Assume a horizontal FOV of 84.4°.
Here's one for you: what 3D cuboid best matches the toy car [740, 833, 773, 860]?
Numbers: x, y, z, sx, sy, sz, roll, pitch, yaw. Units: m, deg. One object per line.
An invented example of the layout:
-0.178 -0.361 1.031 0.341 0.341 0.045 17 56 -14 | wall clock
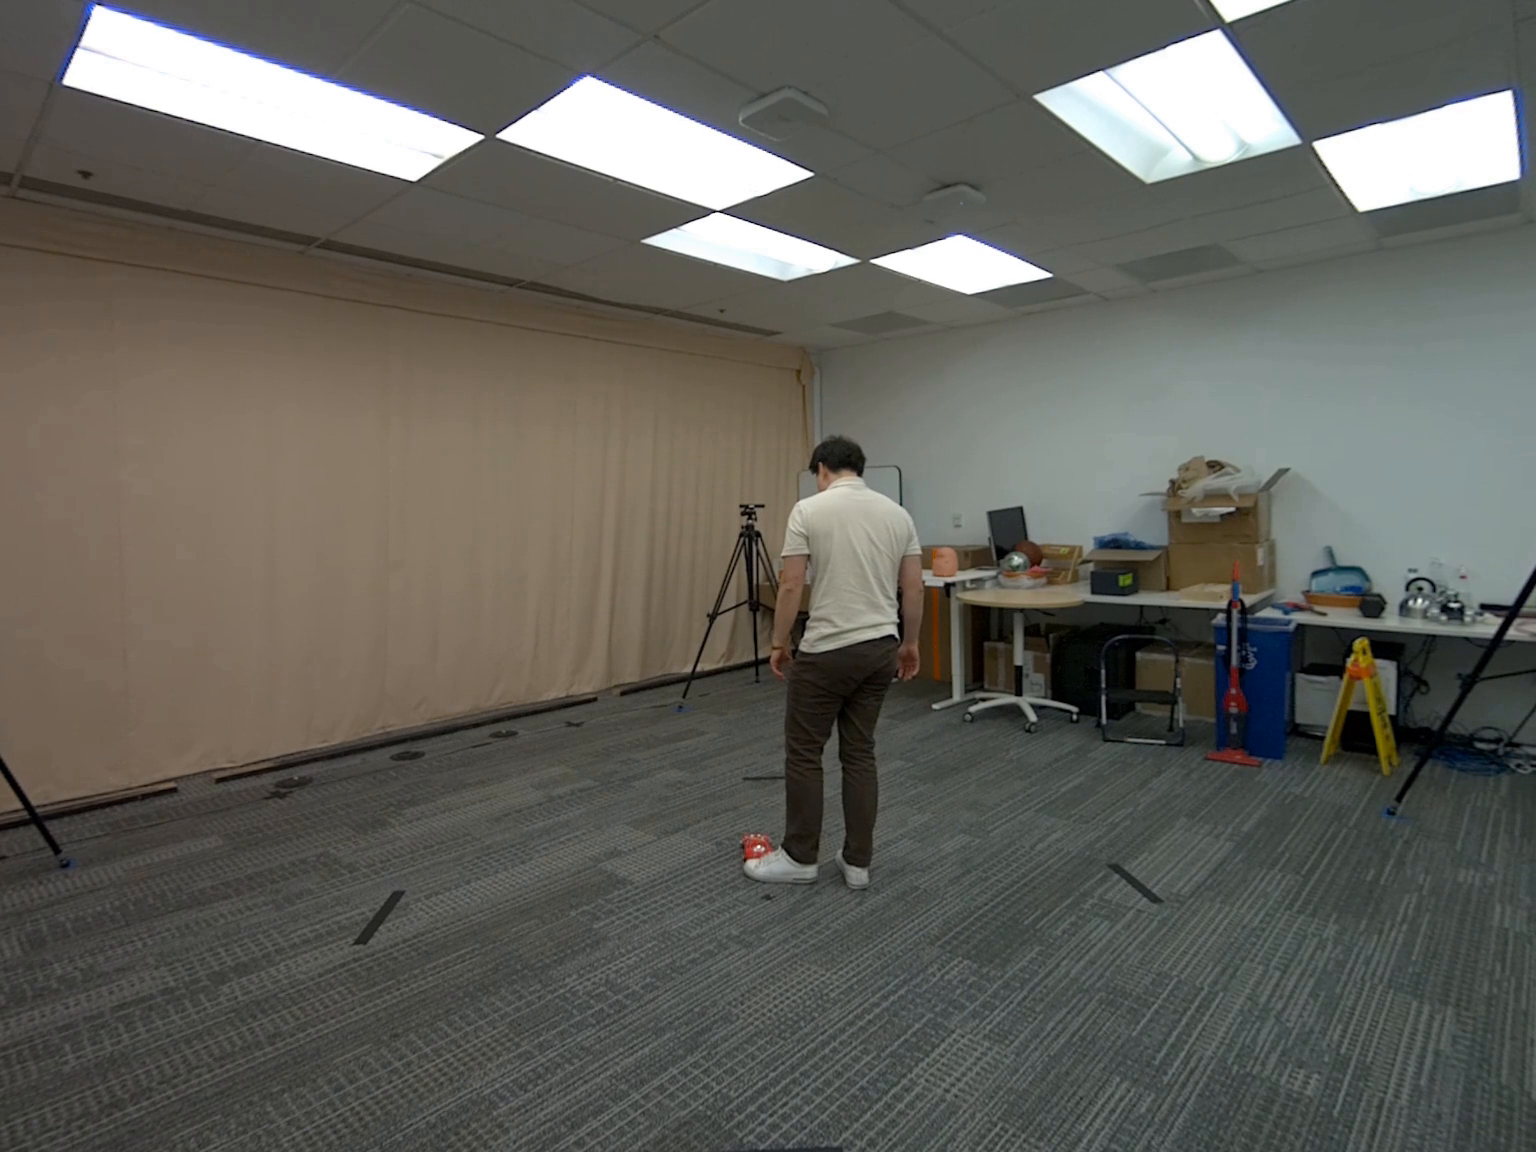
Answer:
-0.041 1.075 3.323 0.130 0.083 0.254 -1 -6 -3 | toy car
